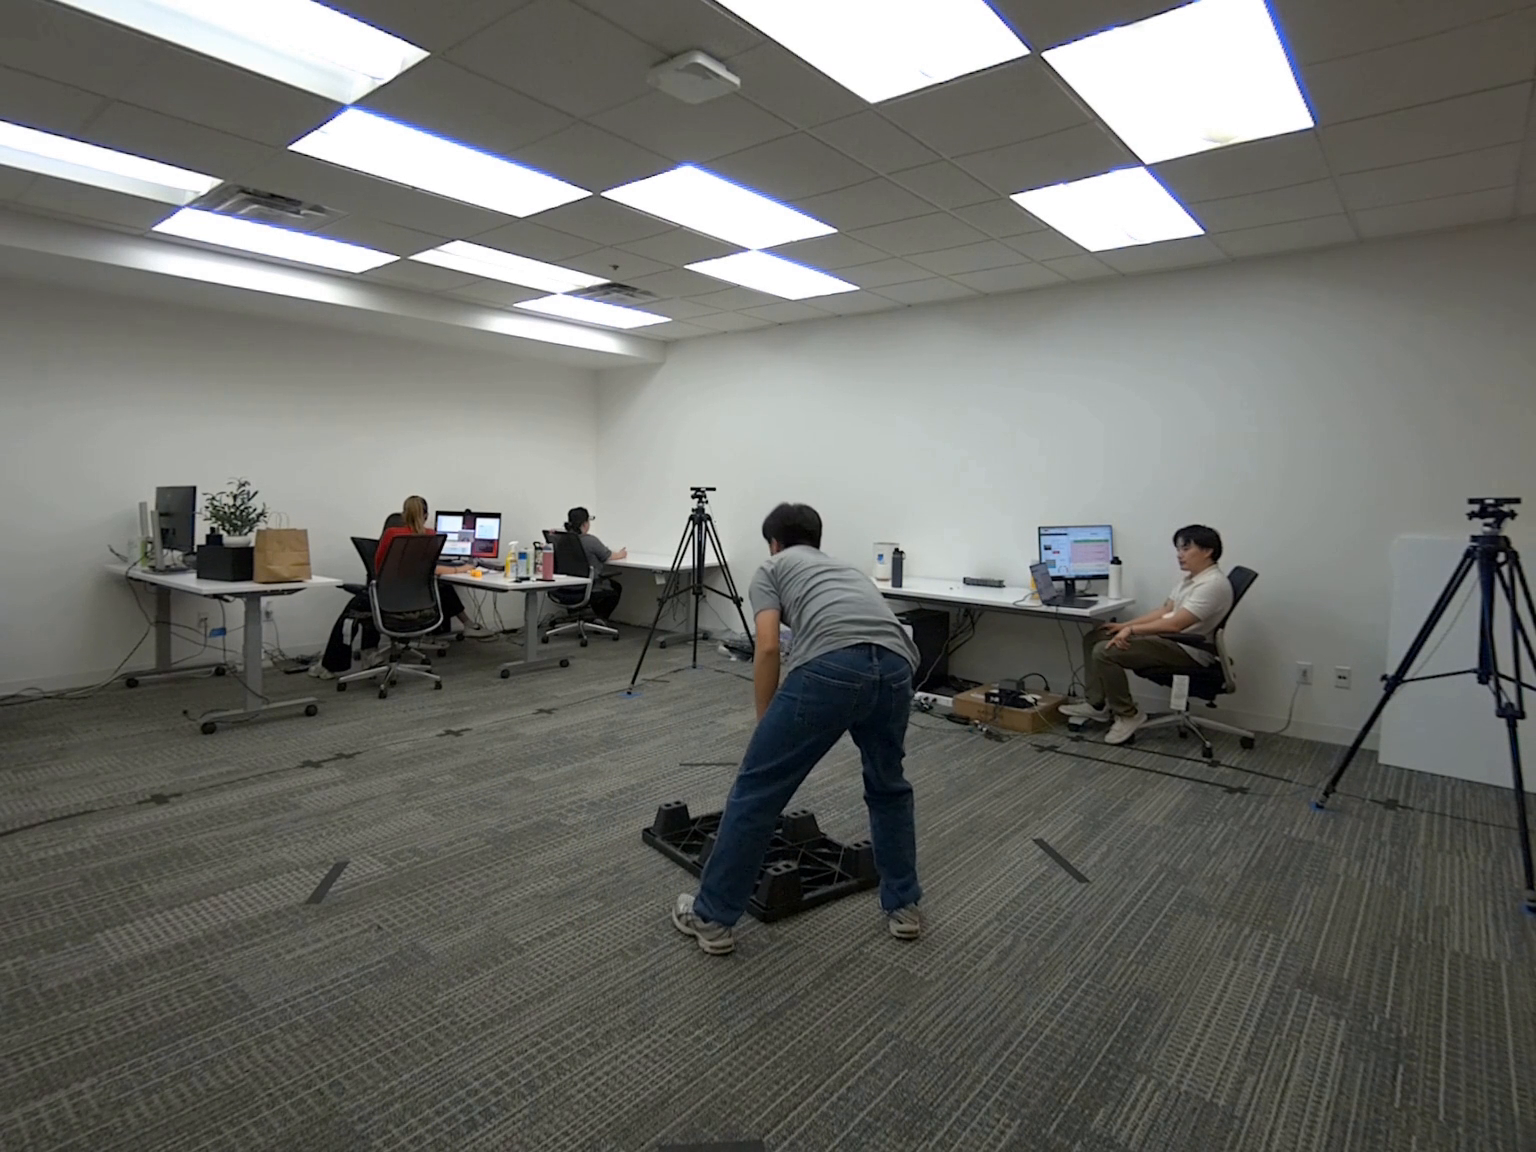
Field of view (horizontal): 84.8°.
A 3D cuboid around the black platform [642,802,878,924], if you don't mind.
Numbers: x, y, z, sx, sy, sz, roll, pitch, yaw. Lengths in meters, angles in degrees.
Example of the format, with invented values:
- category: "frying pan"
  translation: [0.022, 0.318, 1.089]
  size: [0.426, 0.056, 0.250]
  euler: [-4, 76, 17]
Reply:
- category: "black platform"
  translation: [-0.035, 0.995, 3.203]
  size: [0.587, 0.143, 0.833]
  euler: [-2, 6, -38]
